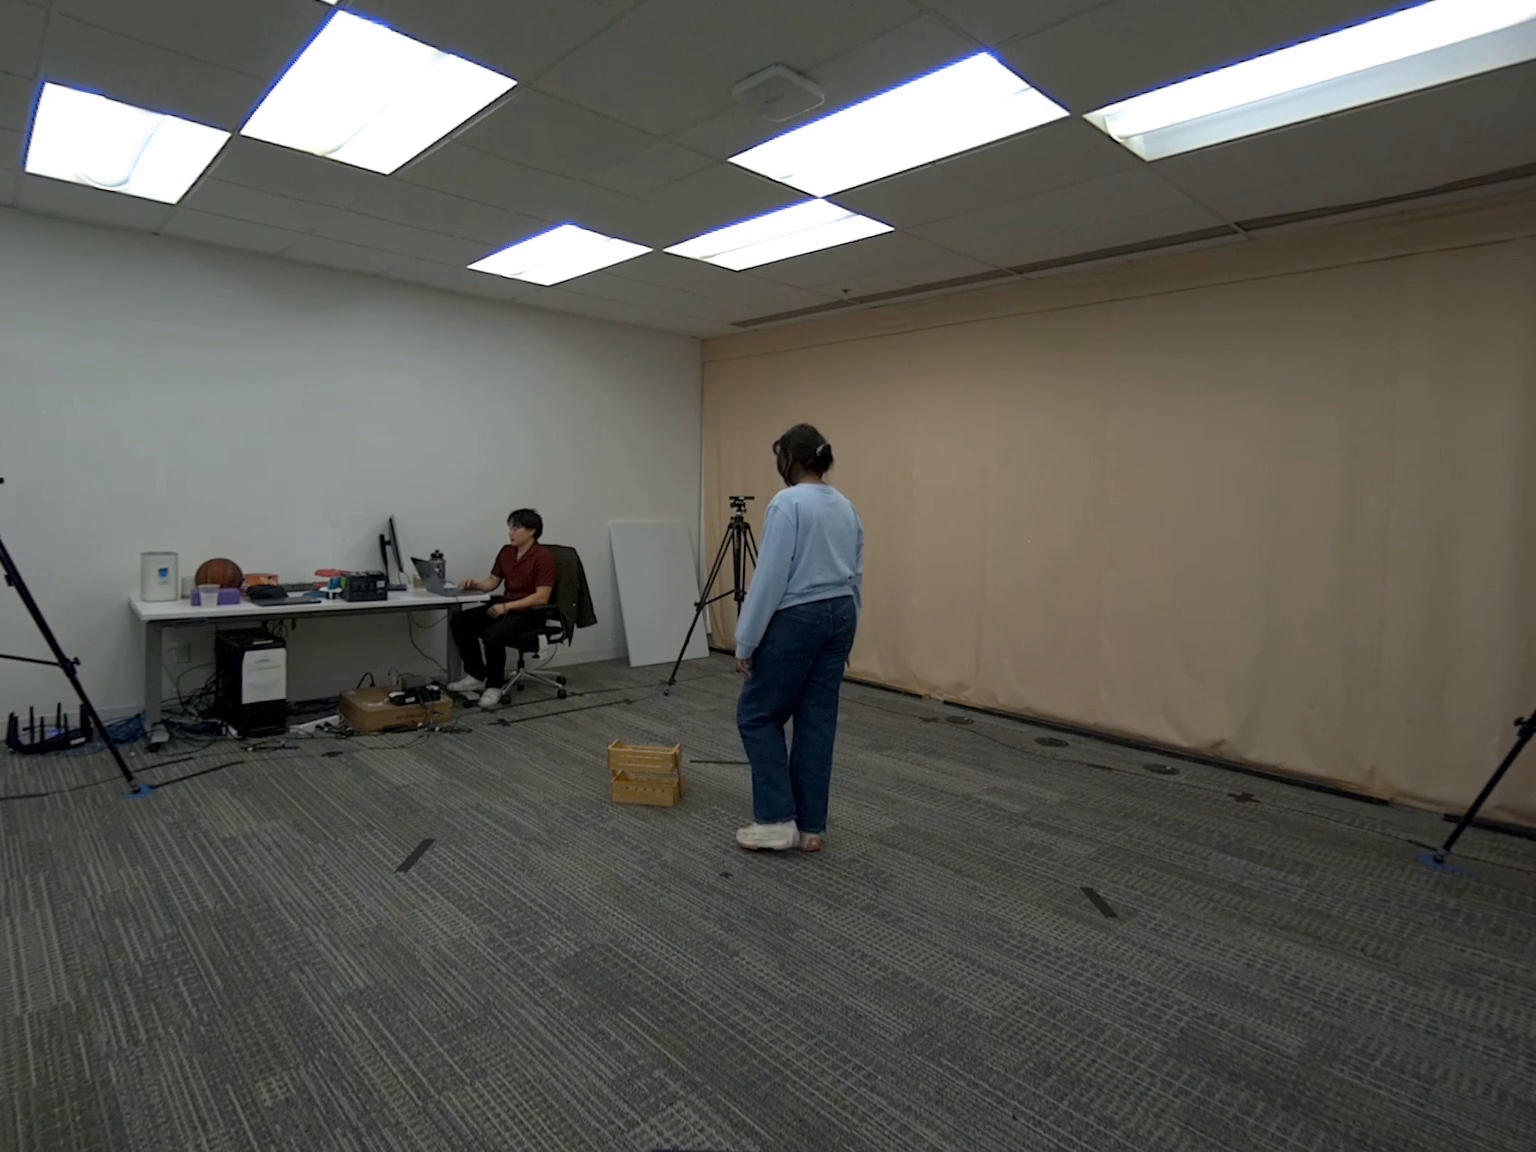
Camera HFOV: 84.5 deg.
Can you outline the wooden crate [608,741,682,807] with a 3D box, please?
[{"bbox_3d":[-0.571,0.893,3.911,0.326,0.272,0.301,2,5,7],"label":"wooden crate"}]
